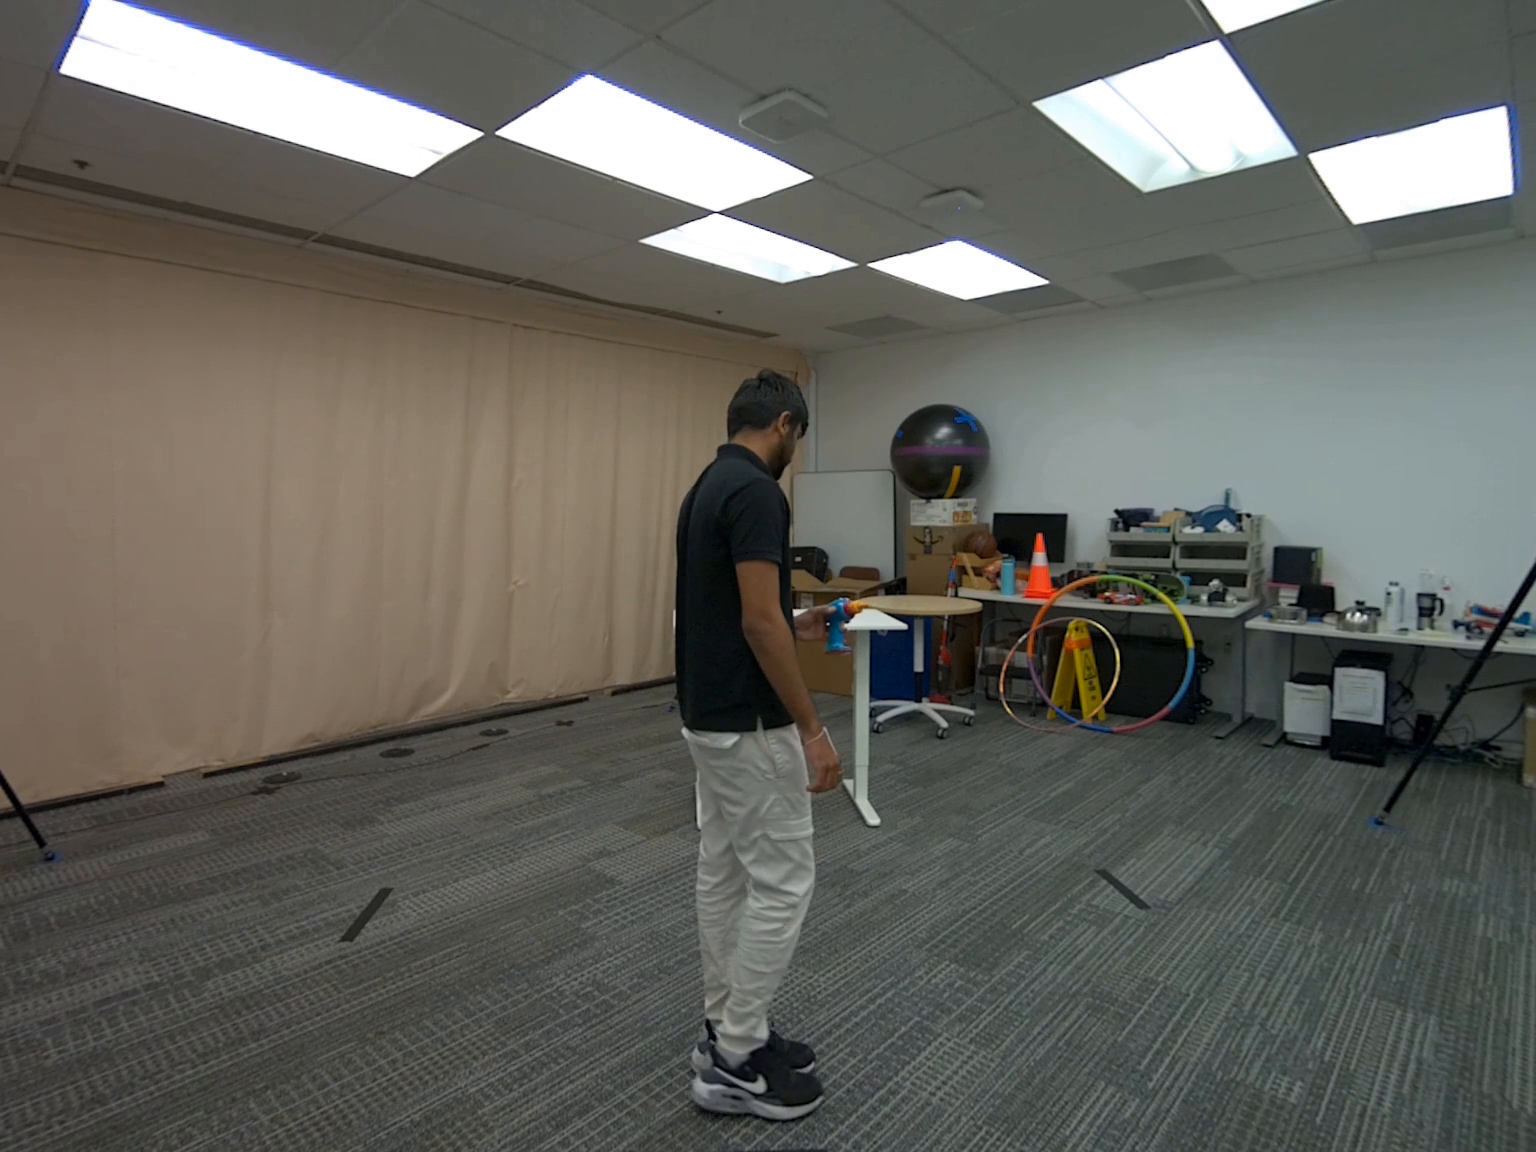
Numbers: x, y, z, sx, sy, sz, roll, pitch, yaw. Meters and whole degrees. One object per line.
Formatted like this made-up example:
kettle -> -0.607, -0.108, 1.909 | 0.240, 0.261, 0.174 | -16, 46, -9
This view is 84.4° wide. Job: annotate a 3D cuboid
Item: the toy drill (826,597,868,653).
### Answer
toy drill -> 0.211, 0.129, 2.195 | 0.059, 0.147, 0.174 | 16, -18, -37
